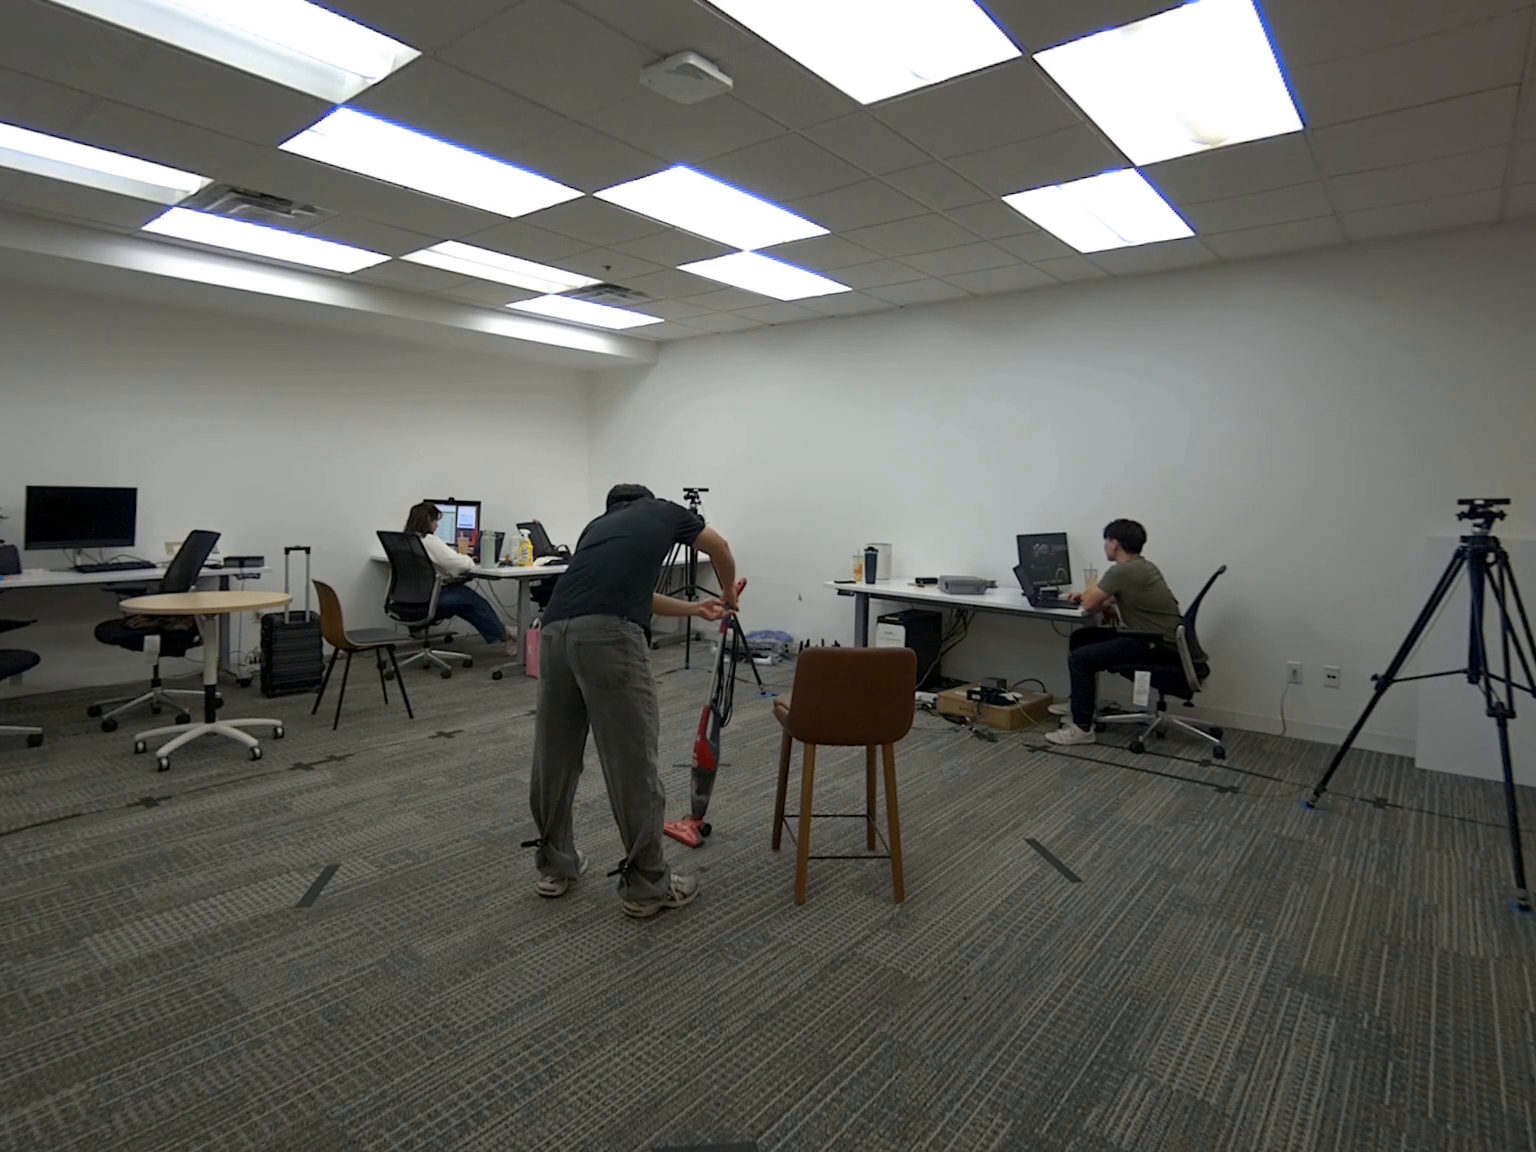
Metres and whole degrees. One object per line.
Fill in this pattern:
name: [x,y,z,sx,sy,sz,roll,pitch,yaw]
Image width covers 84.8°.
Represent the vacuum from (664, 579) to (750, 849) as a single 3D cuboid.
vacuum: [-0.226,0.529,3.483,0.138,1.055,0.261,19,-10,-43]
